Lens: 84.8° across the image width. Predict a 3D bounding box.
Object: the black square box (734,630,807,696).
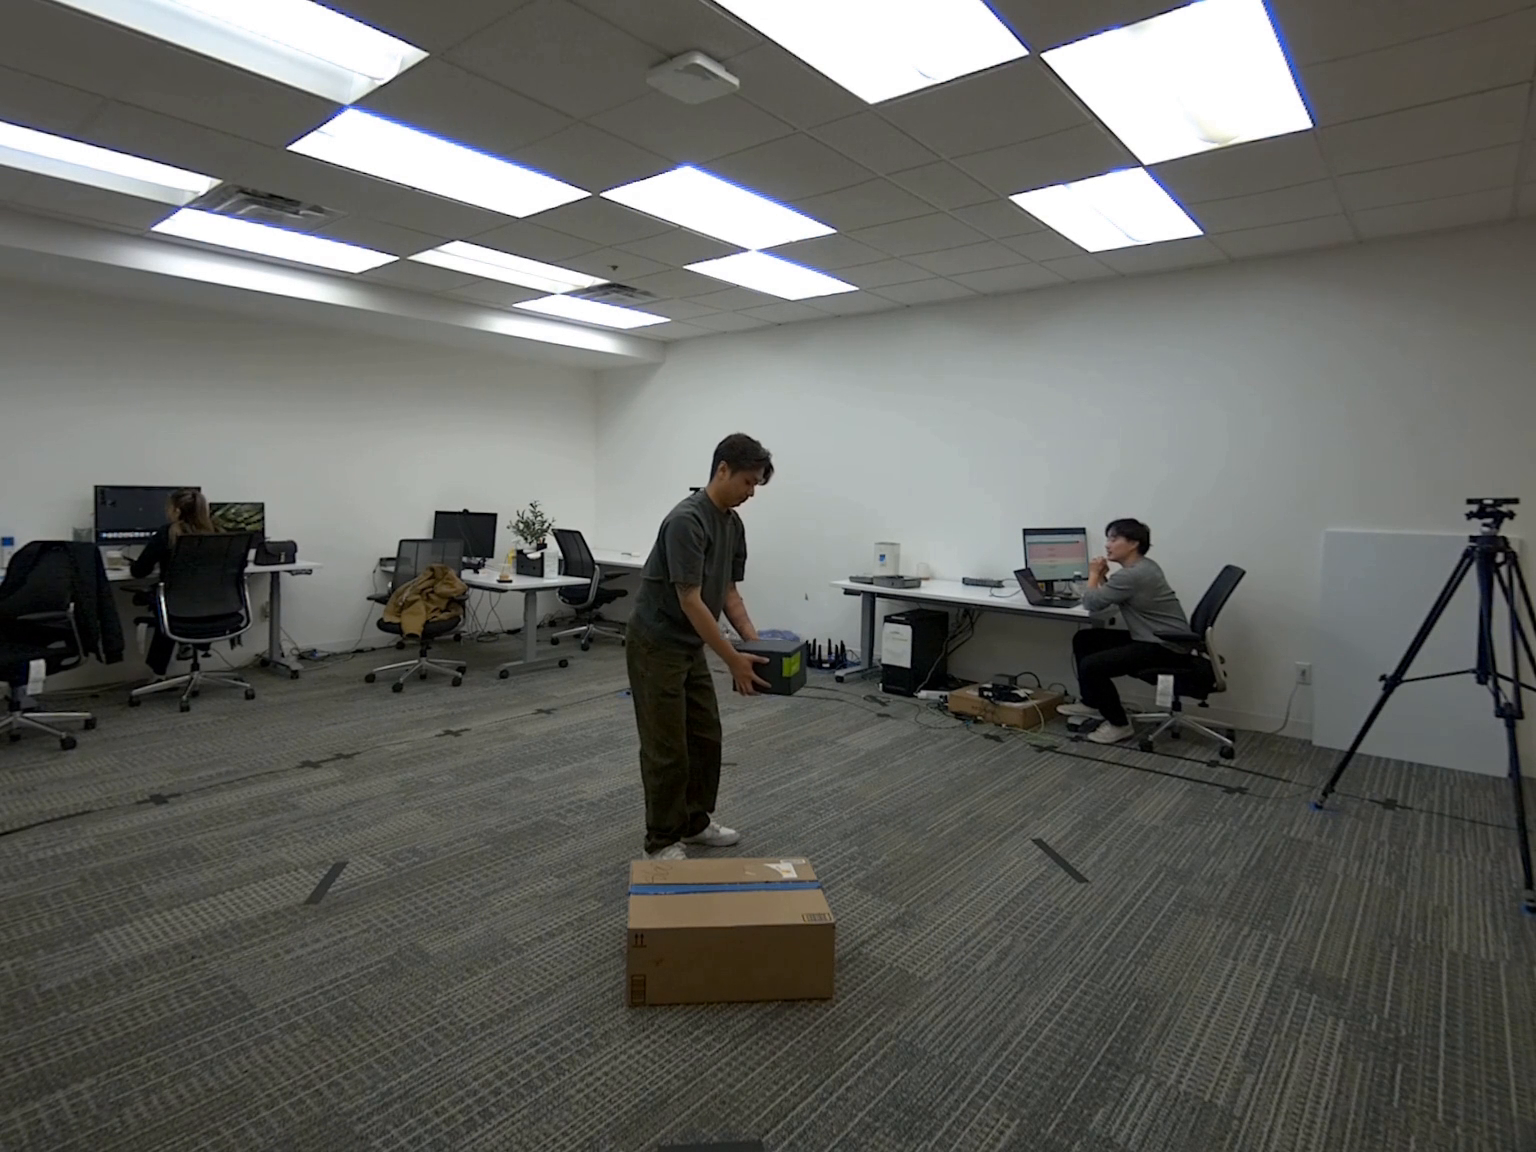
[{"bbox_3d":[-0.001,0.328,3.085,0.221,0.155,0.224,1,4,18],"label":"black square box"}]
